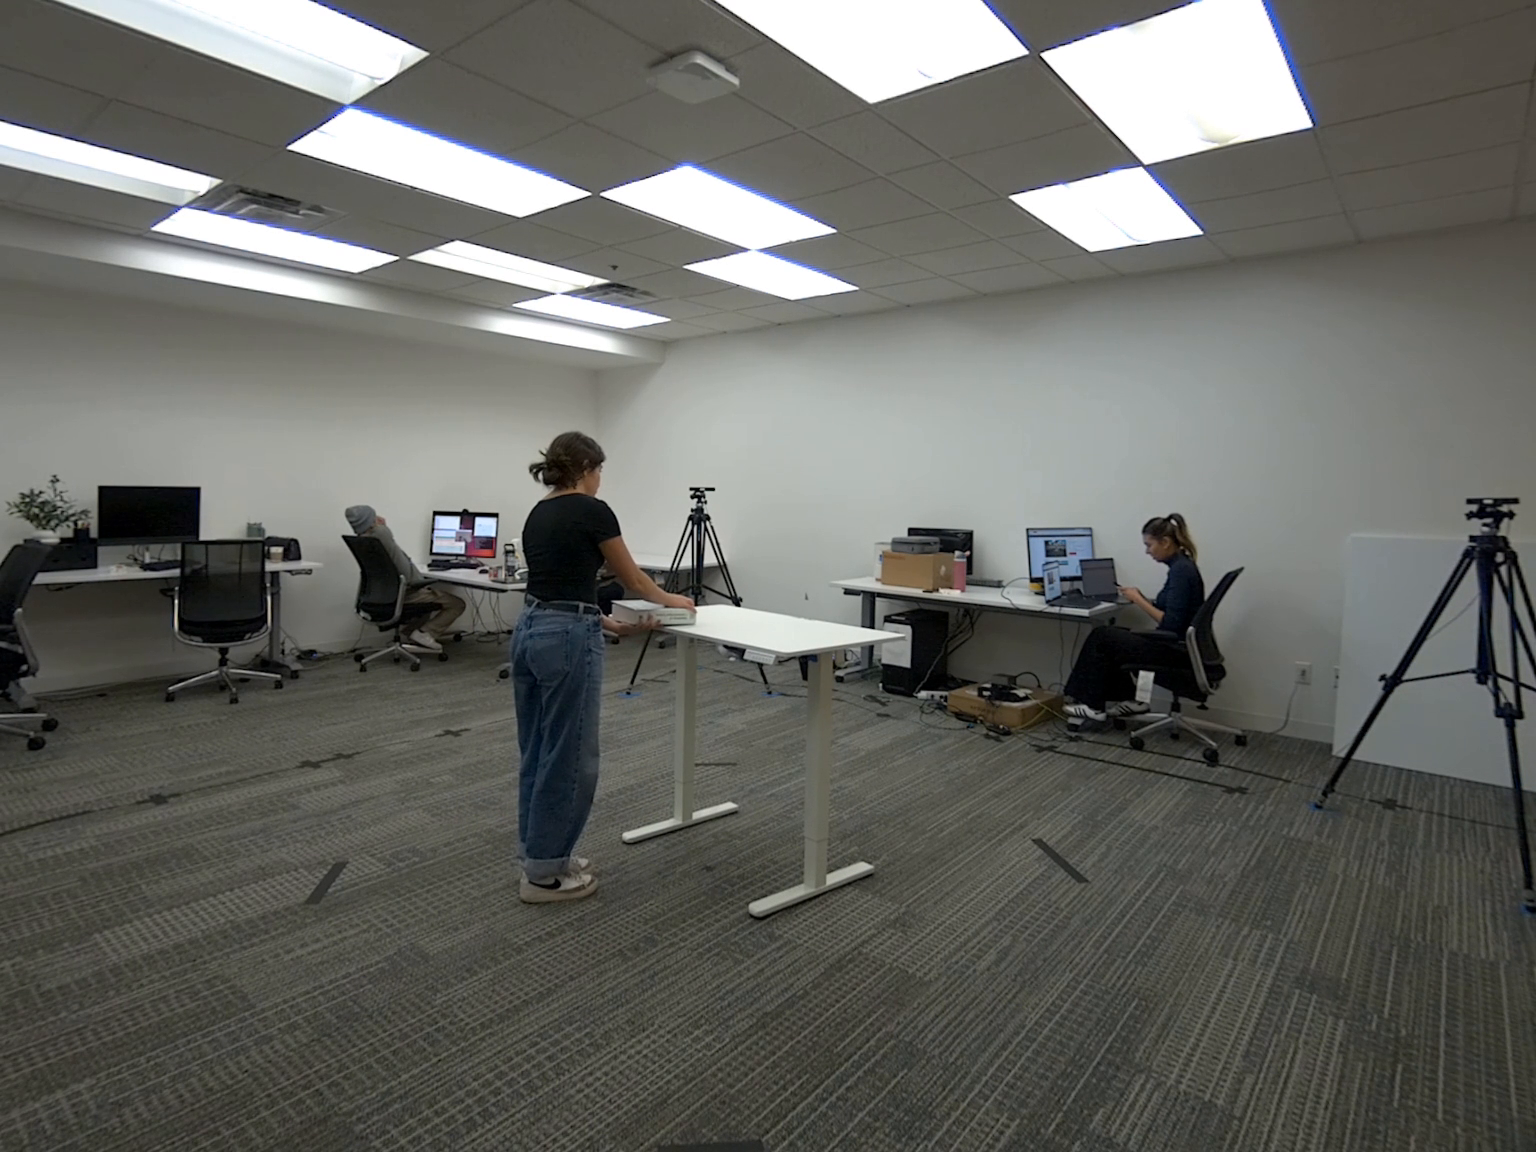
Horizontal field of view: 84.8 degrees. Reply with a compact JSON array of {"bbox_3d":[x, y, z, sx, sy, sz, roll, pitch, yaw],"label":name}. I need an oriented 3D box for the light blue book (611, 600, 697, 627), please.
[{"bbox_3d":[-0.436,0.136,3.159,0.253,0.059,0.198,1,5,-37],"label":"light blue book"}]
